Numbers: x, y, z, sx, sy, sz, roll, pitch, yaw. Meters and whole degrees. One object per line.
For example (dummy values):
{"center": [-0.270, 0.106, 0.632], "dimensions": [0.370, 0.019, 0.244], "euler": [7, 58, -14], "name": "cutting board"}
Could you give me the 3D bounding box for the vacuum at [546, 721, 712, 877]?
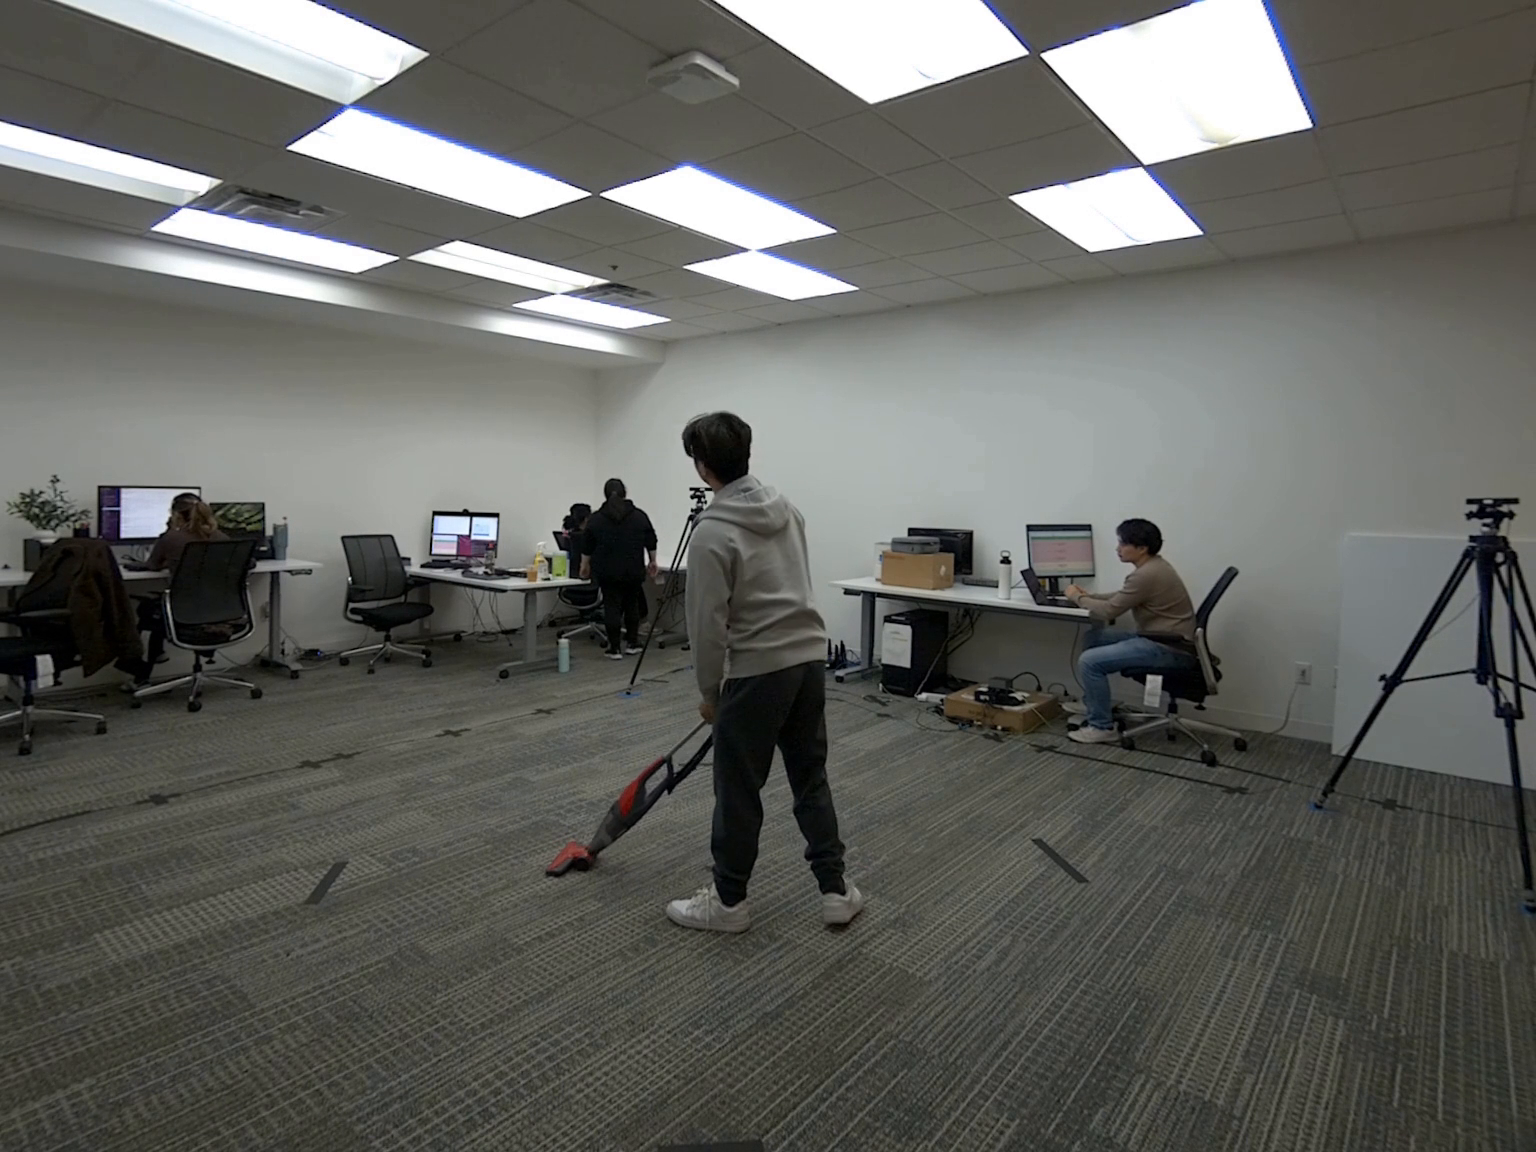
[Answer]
{"center": [-0.364, 0.691, 3.046], "dimensions": [1.050, 0.145, 0.250], "euler": [-44, -5, 9], "name": "vacuum"}
